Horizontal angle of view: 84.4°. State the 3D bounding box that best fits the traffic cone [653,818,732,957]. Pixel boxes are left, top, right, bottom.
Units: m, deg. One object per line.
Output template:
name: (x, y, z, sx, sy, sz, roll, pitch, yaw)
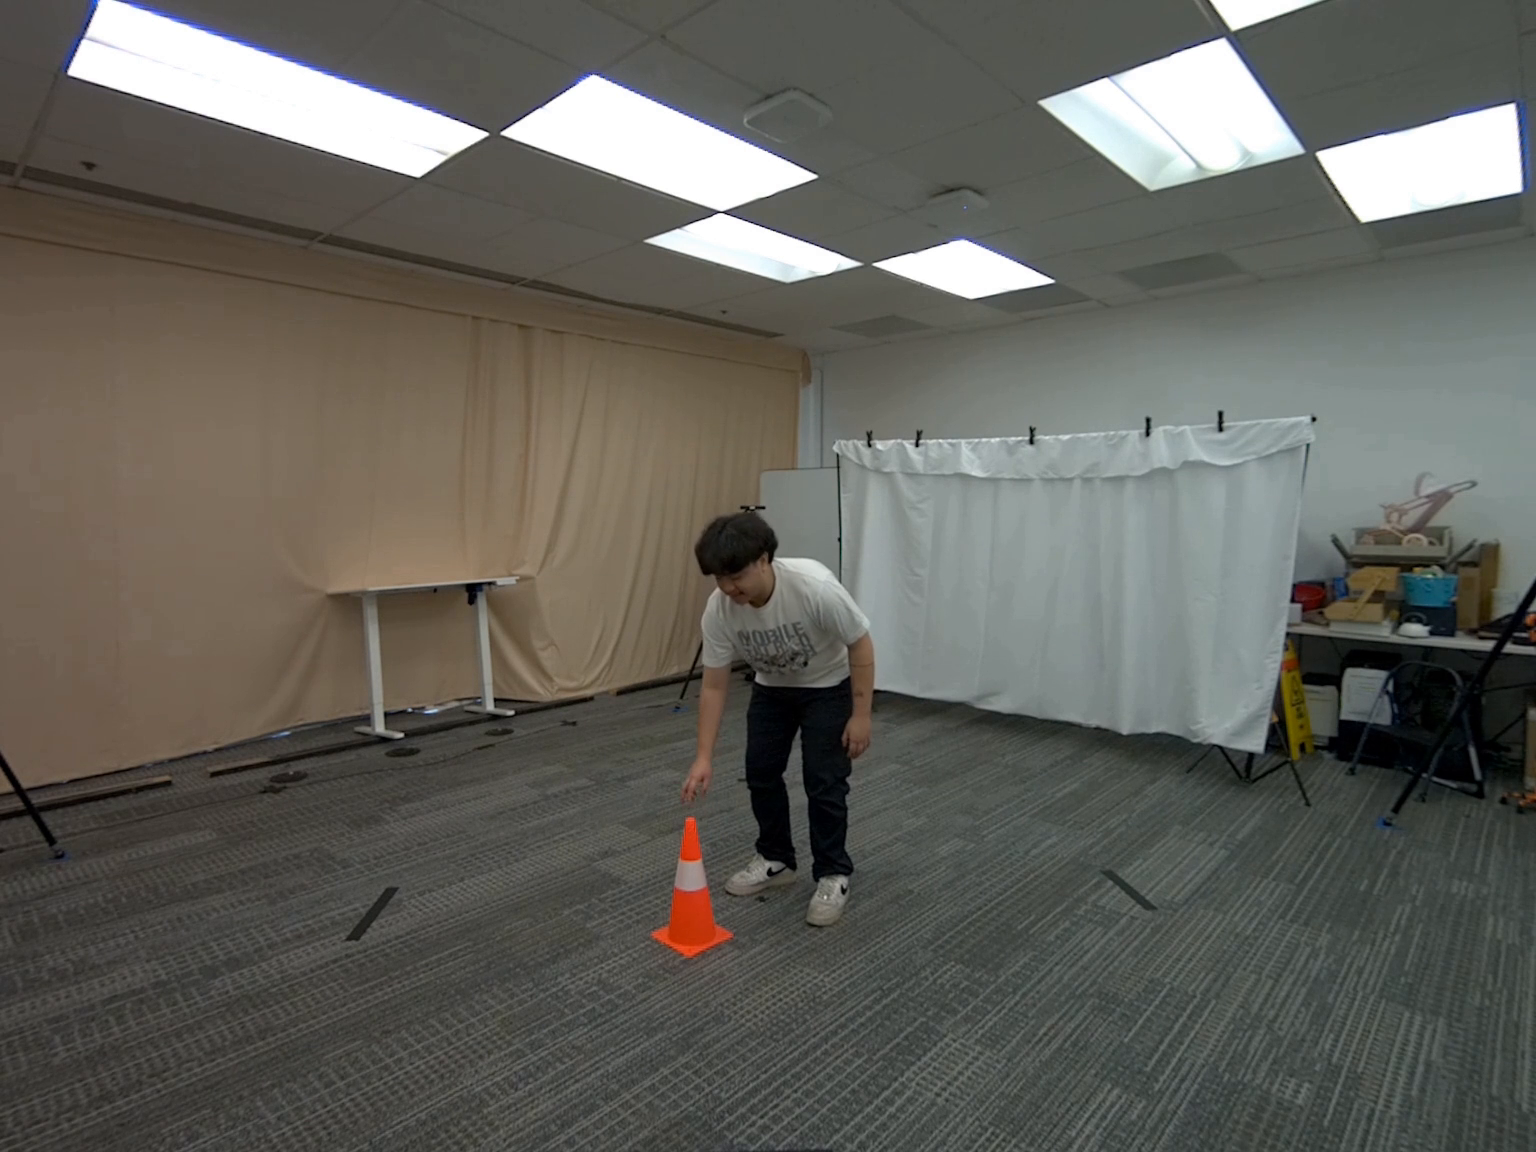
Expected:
traffic cone: (-0.249, 0.978, 2.726, 0.197, 0.383, 0.211, -3, 2, -41)
